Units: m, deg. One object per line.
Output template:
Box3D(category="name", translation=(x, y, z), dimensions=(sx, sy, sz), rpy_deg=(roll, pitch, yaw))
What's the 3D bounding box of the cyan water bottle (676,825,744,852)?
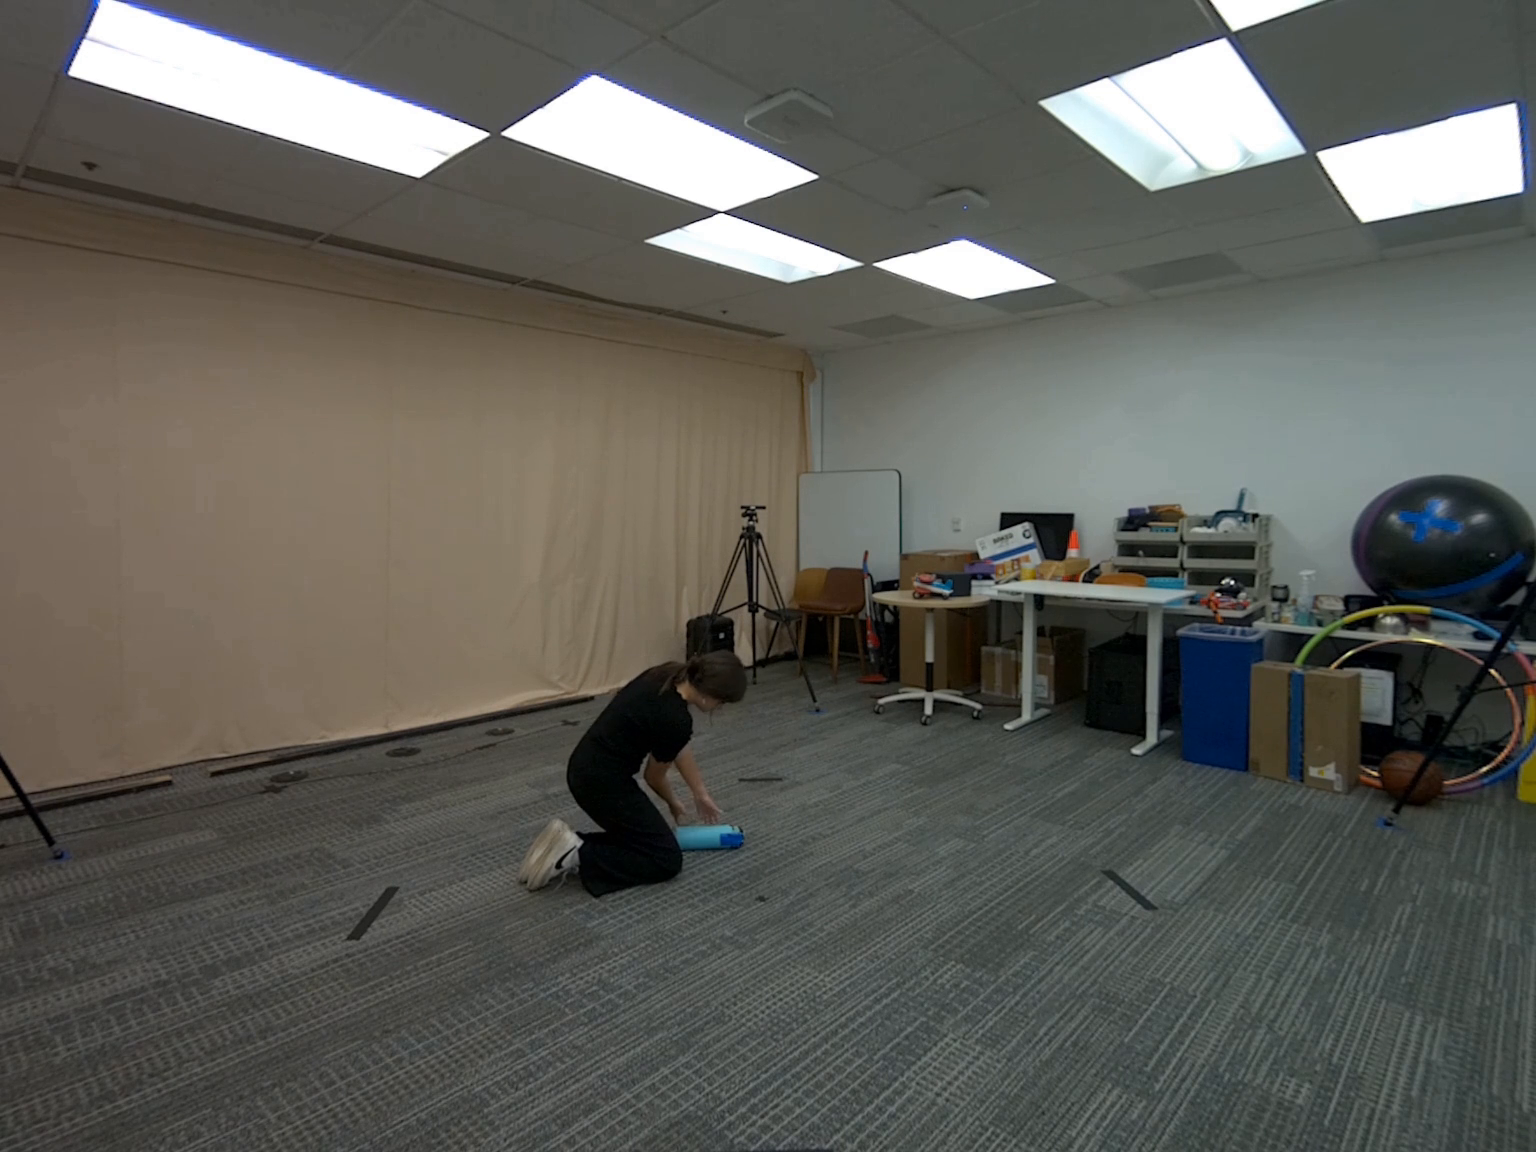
Box3D(category="cyan water bottle", translation=(-0.228, 1.063, 3.420), dimensions=(0.282, 0.092, 0.093), rpy_deg=(-1, 4, -5))
